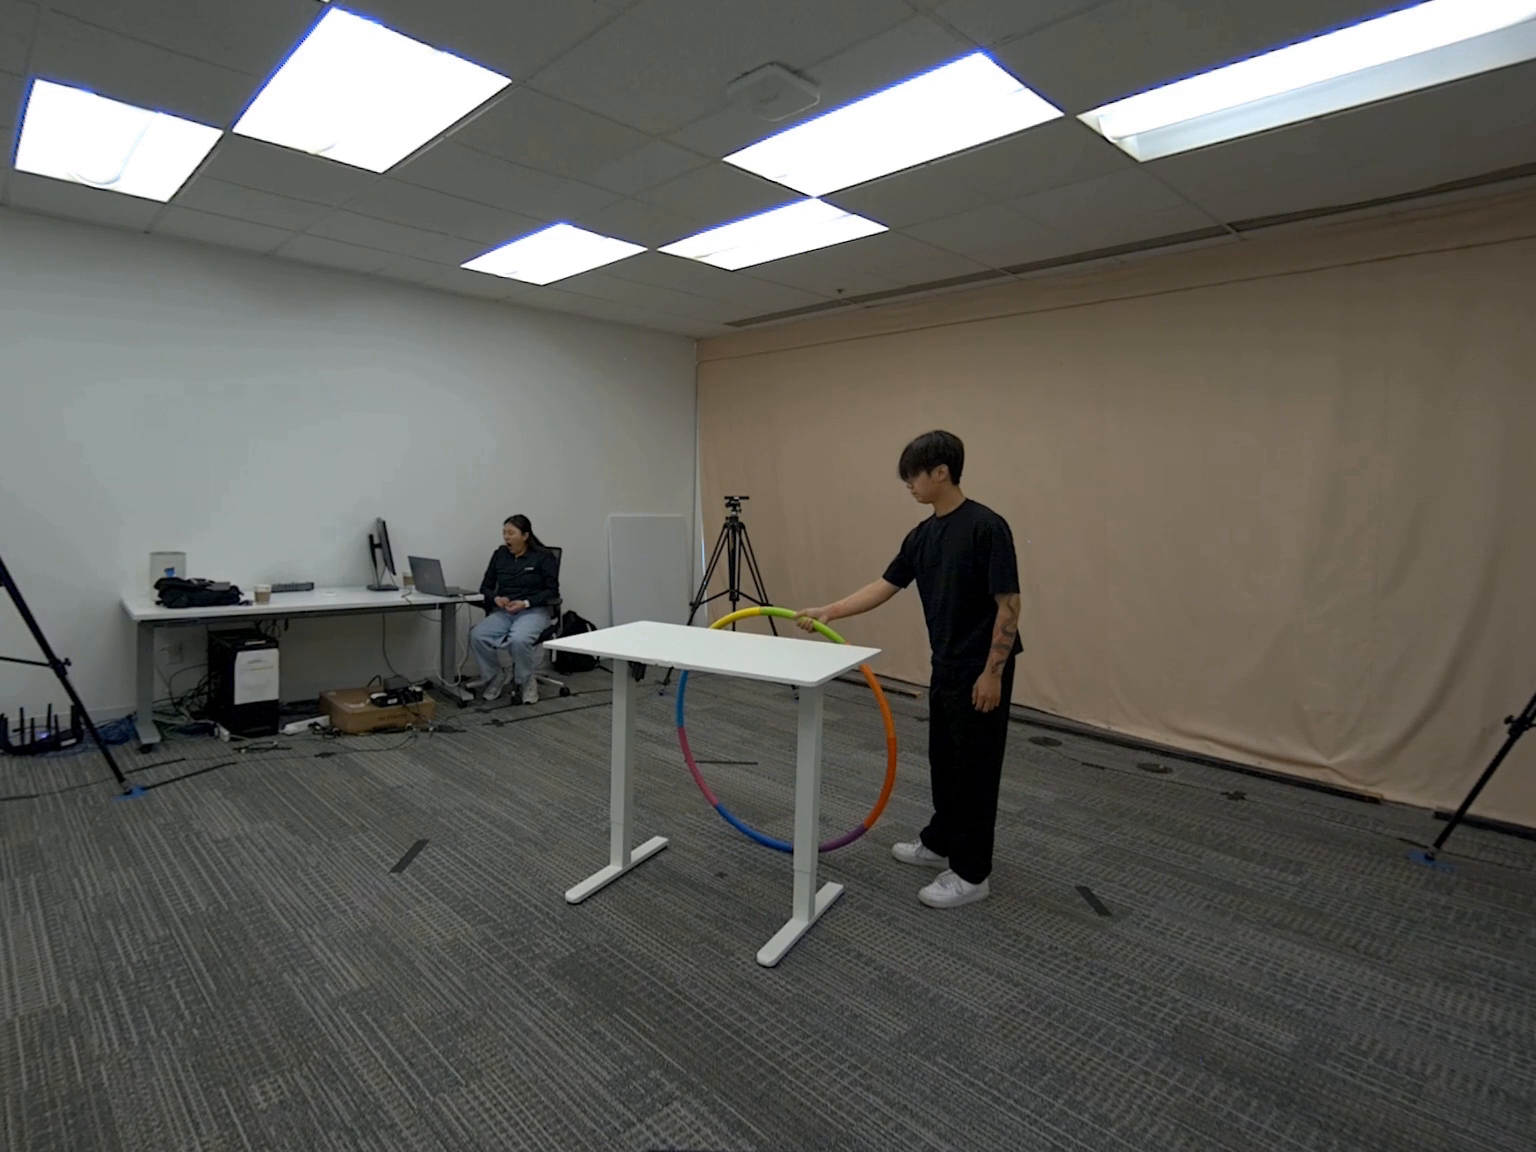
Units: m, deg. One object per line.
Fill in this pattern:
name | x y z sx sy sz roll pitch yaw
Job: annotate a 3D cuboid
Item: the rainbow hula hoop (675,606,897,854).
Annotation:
rainbow hula hoop | 0.023 0.612 3.305 1.001 0.974 0.035 4 8 33
